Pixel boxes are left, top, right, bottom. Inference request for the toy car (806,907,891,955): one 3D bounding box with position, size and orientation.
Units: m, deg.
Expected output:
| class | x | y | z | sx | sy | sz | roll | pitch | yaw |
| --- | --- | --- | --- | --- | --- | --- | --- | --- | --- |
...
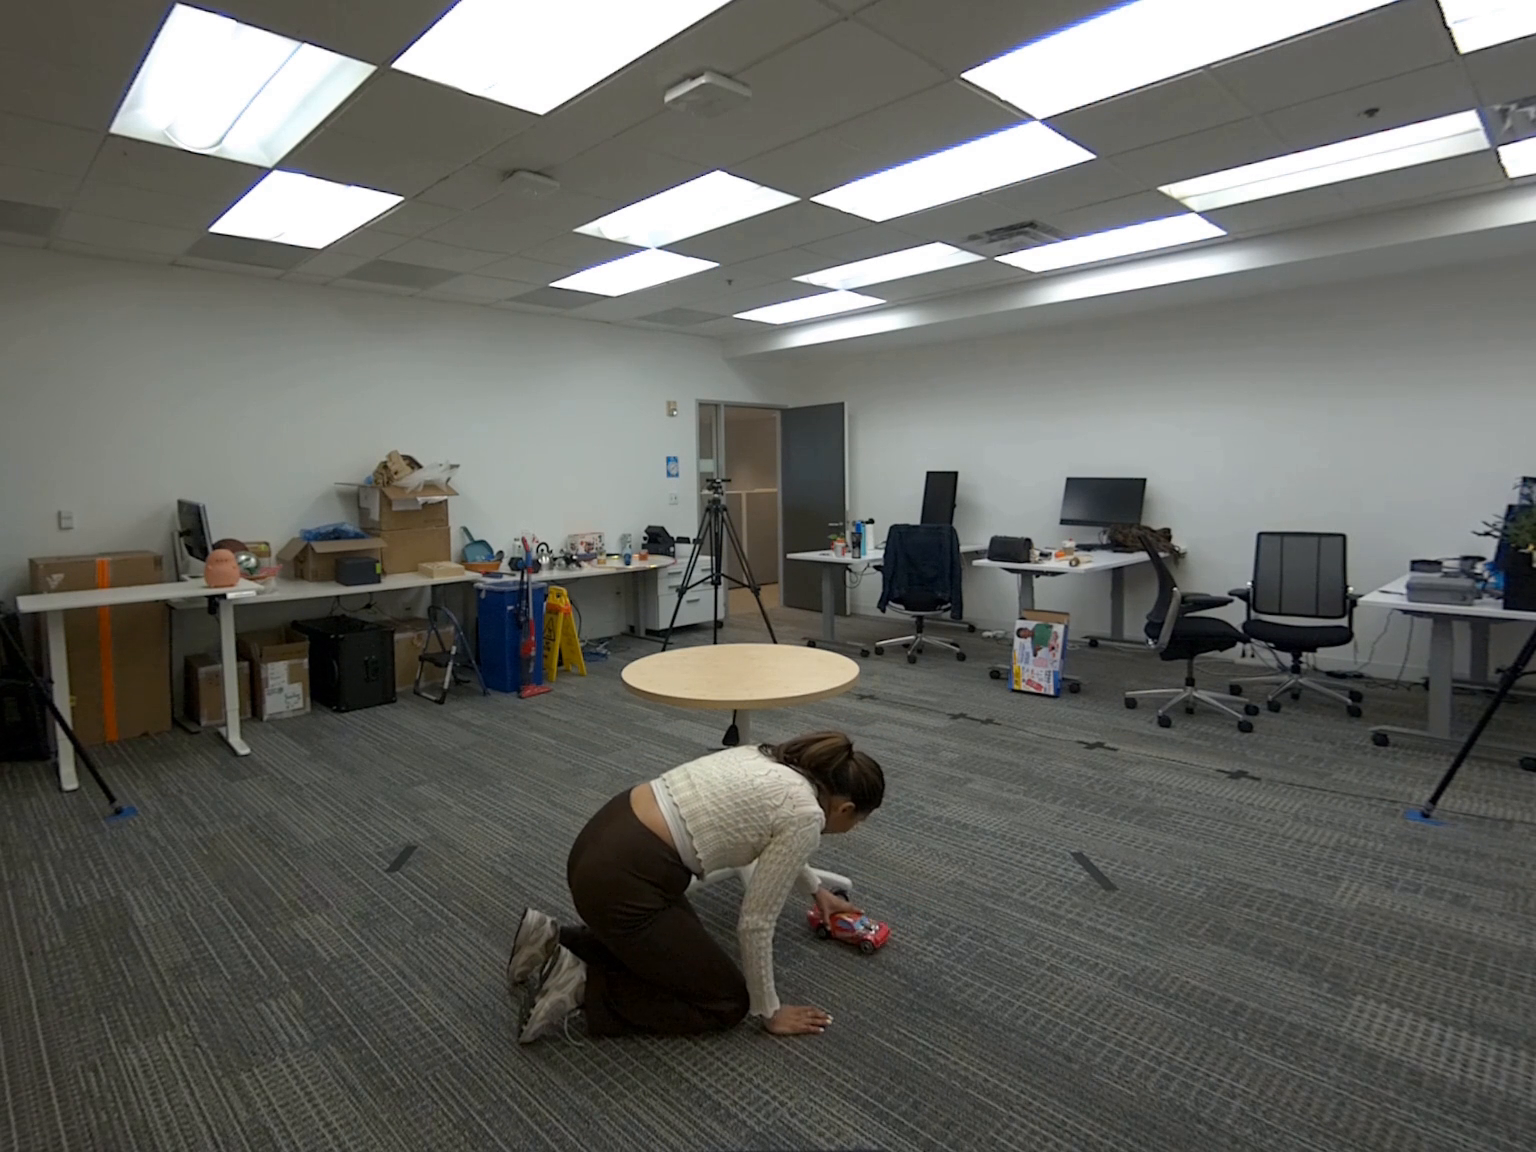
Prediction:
| class | x | y | z | sx | sy | sz | roll | pitch | yaw |
| --- | --- | --- | --- | --- | --- | --- | --- | --- | --- |
| toy car | 0.237 | 1.068 | 2.604 | 0.263 | 0.082 | 0.127 | 14 | 18 | 34 |
